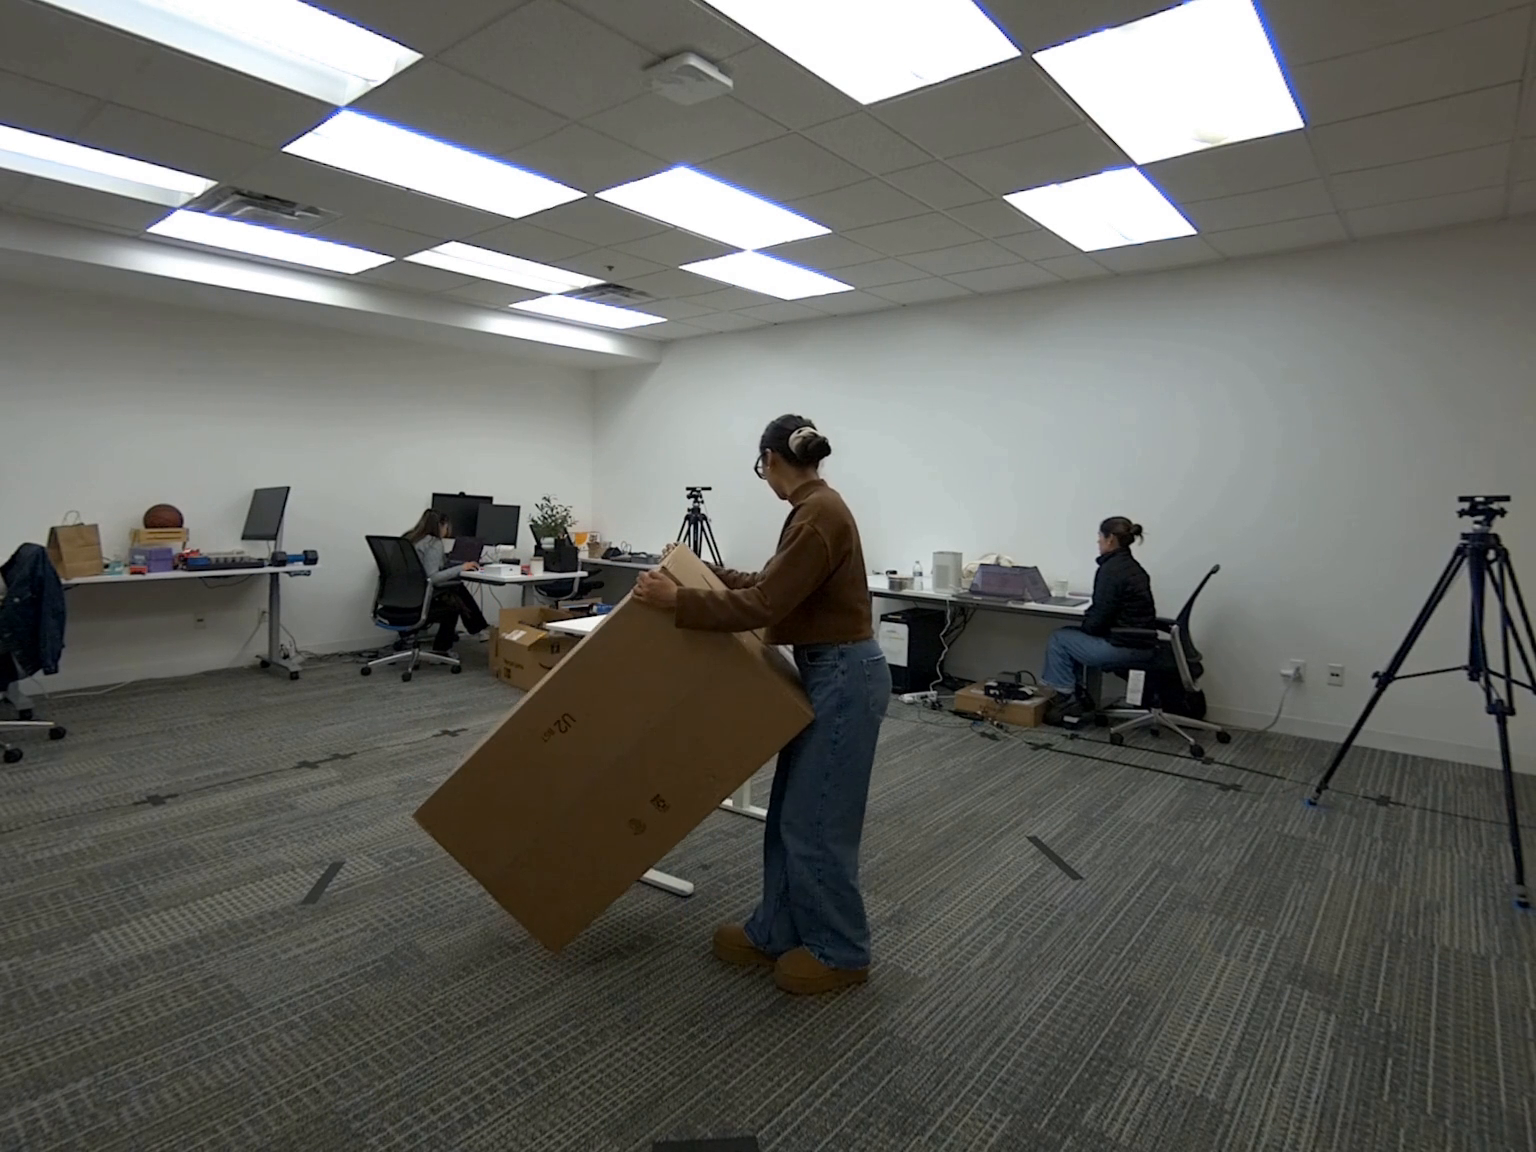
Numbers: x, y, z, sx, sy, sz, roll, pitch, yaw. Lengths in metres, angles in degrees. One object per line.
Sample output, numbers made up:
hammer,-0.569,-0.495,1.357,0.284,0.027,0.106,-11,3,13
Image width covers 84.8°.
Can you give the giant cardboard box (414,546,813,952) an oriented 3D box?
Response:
giant cardboard box,-0.441,0.488,2.518,1.026,0.574,0.428,-44,5,9
